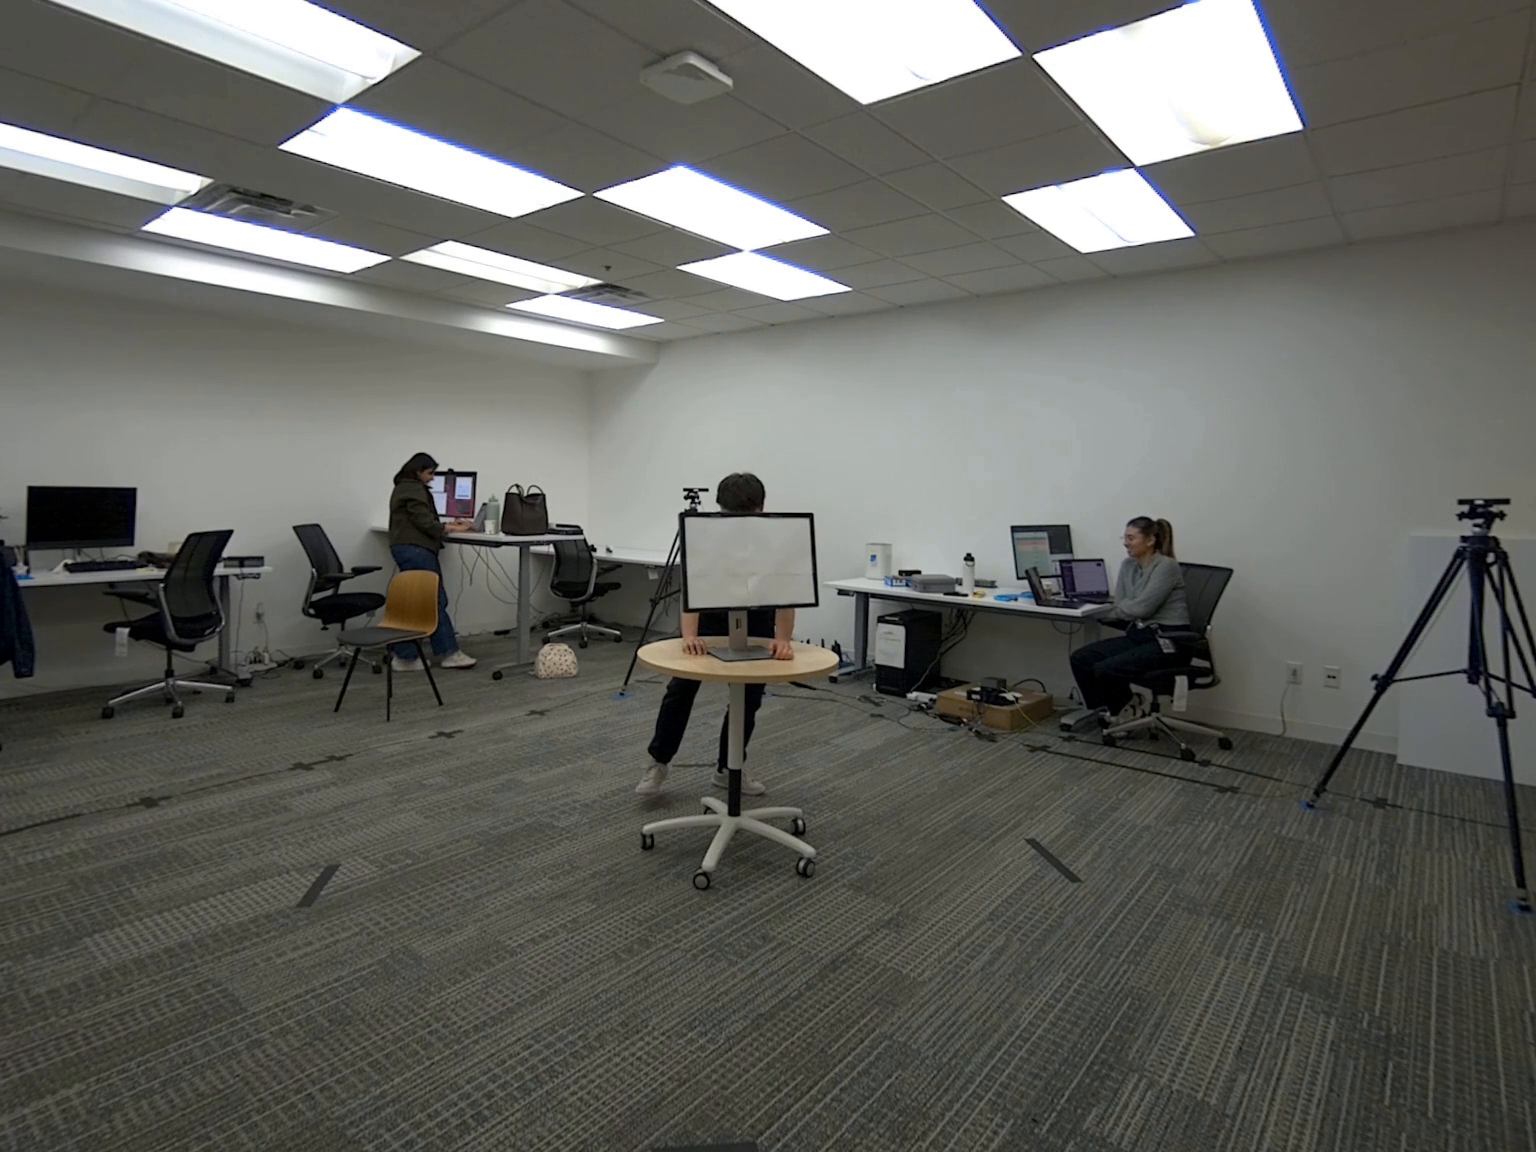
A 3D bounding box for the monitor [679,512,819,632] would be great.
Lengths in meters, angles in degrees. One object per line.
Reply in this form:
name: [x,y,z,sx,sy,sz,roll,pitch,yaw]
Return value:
monitor: [-0.085,0.029,3.201,0.526,0.520,0.193,-1,5,-27]
